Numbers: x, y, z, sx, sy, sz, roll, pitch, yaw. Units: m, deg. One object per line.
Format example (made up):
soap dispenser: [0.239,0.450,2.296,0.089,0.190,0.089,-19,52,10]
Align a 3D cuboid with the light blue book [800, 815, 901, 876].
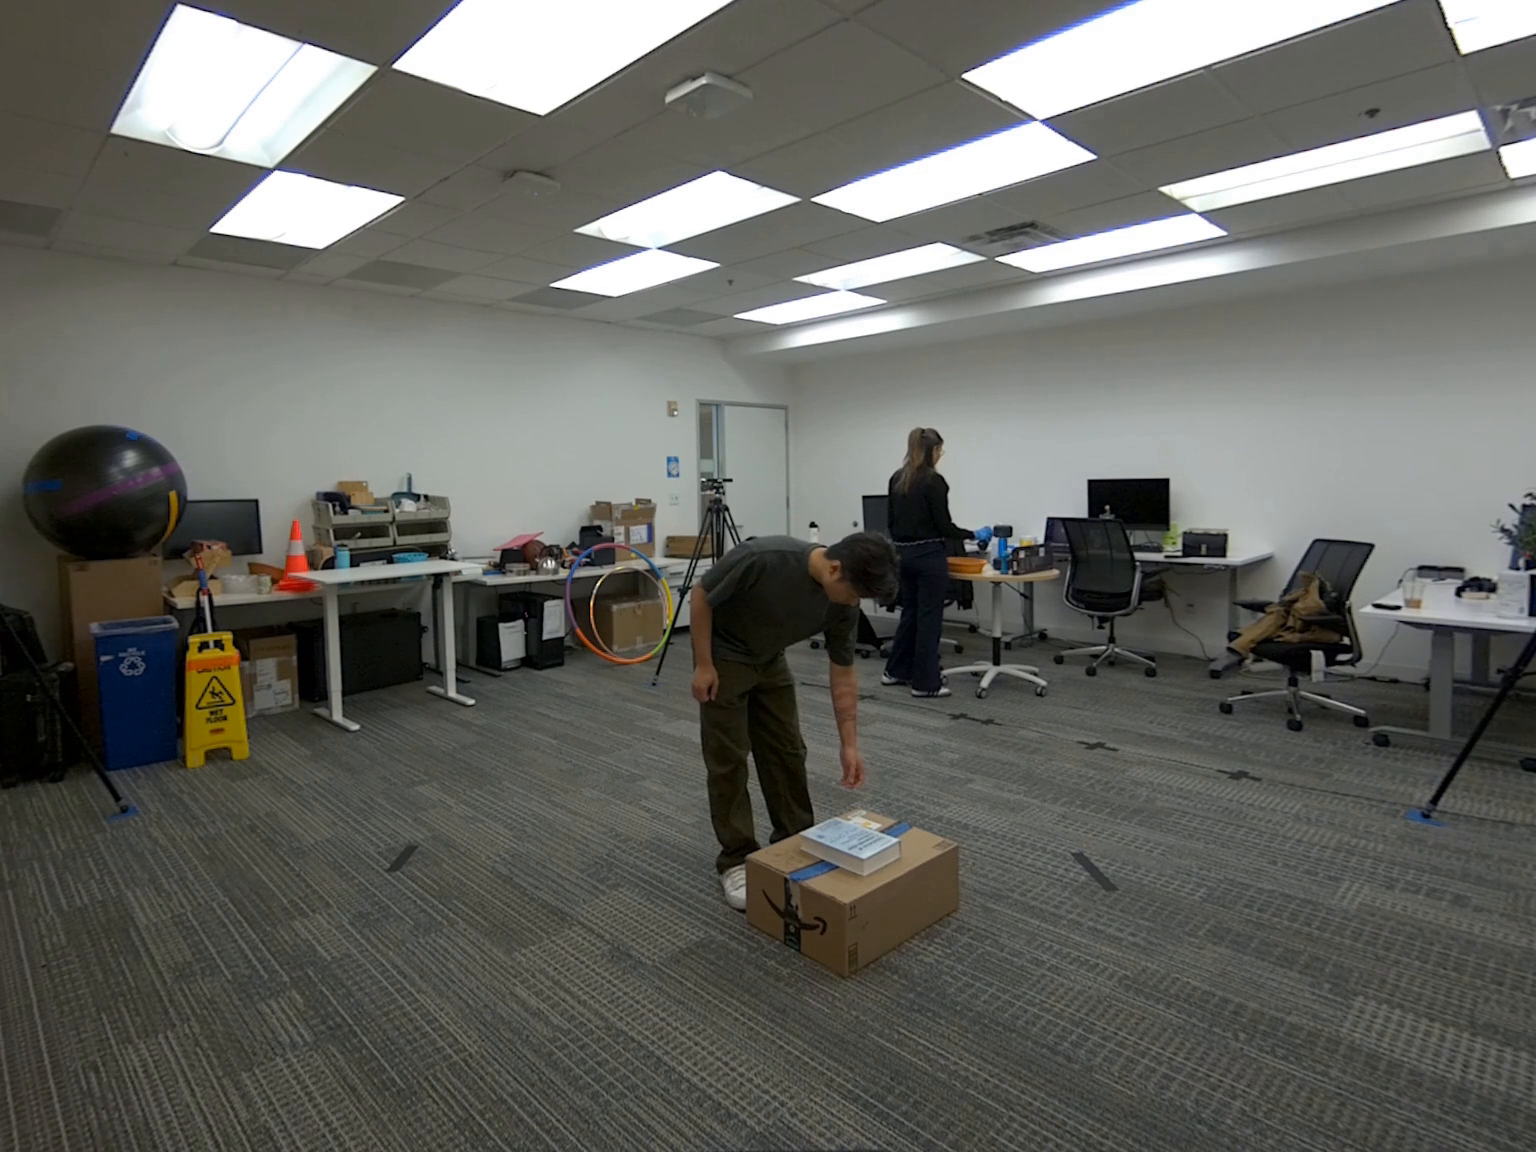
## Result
light blue book: [0.261,0.846,2.698,0.186,0.059,0.269,-9,10,-43]
